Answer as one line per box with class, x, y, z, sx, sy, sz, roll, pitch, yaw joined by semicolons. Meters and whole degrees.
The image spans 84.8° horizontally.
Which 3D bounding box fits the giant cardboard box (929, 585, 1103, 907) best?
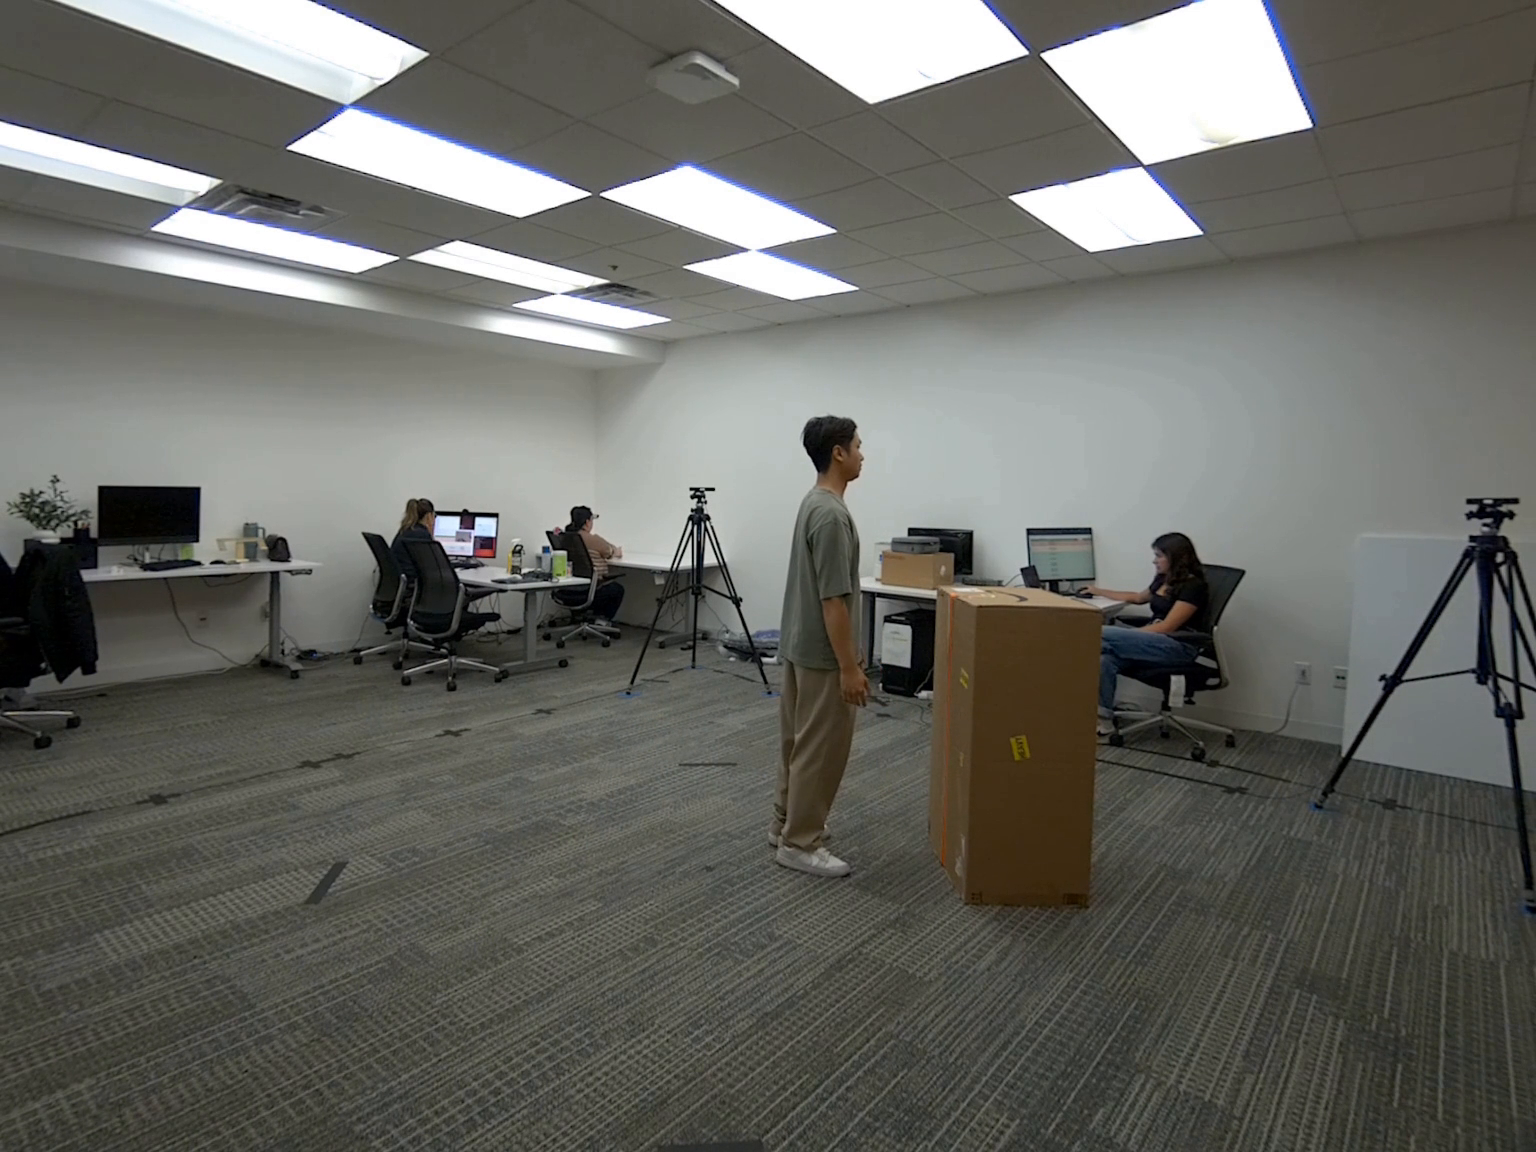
giant cardboard box;0.879;0.584;3.142;0.426;1.022;0.580;2;4;-2
